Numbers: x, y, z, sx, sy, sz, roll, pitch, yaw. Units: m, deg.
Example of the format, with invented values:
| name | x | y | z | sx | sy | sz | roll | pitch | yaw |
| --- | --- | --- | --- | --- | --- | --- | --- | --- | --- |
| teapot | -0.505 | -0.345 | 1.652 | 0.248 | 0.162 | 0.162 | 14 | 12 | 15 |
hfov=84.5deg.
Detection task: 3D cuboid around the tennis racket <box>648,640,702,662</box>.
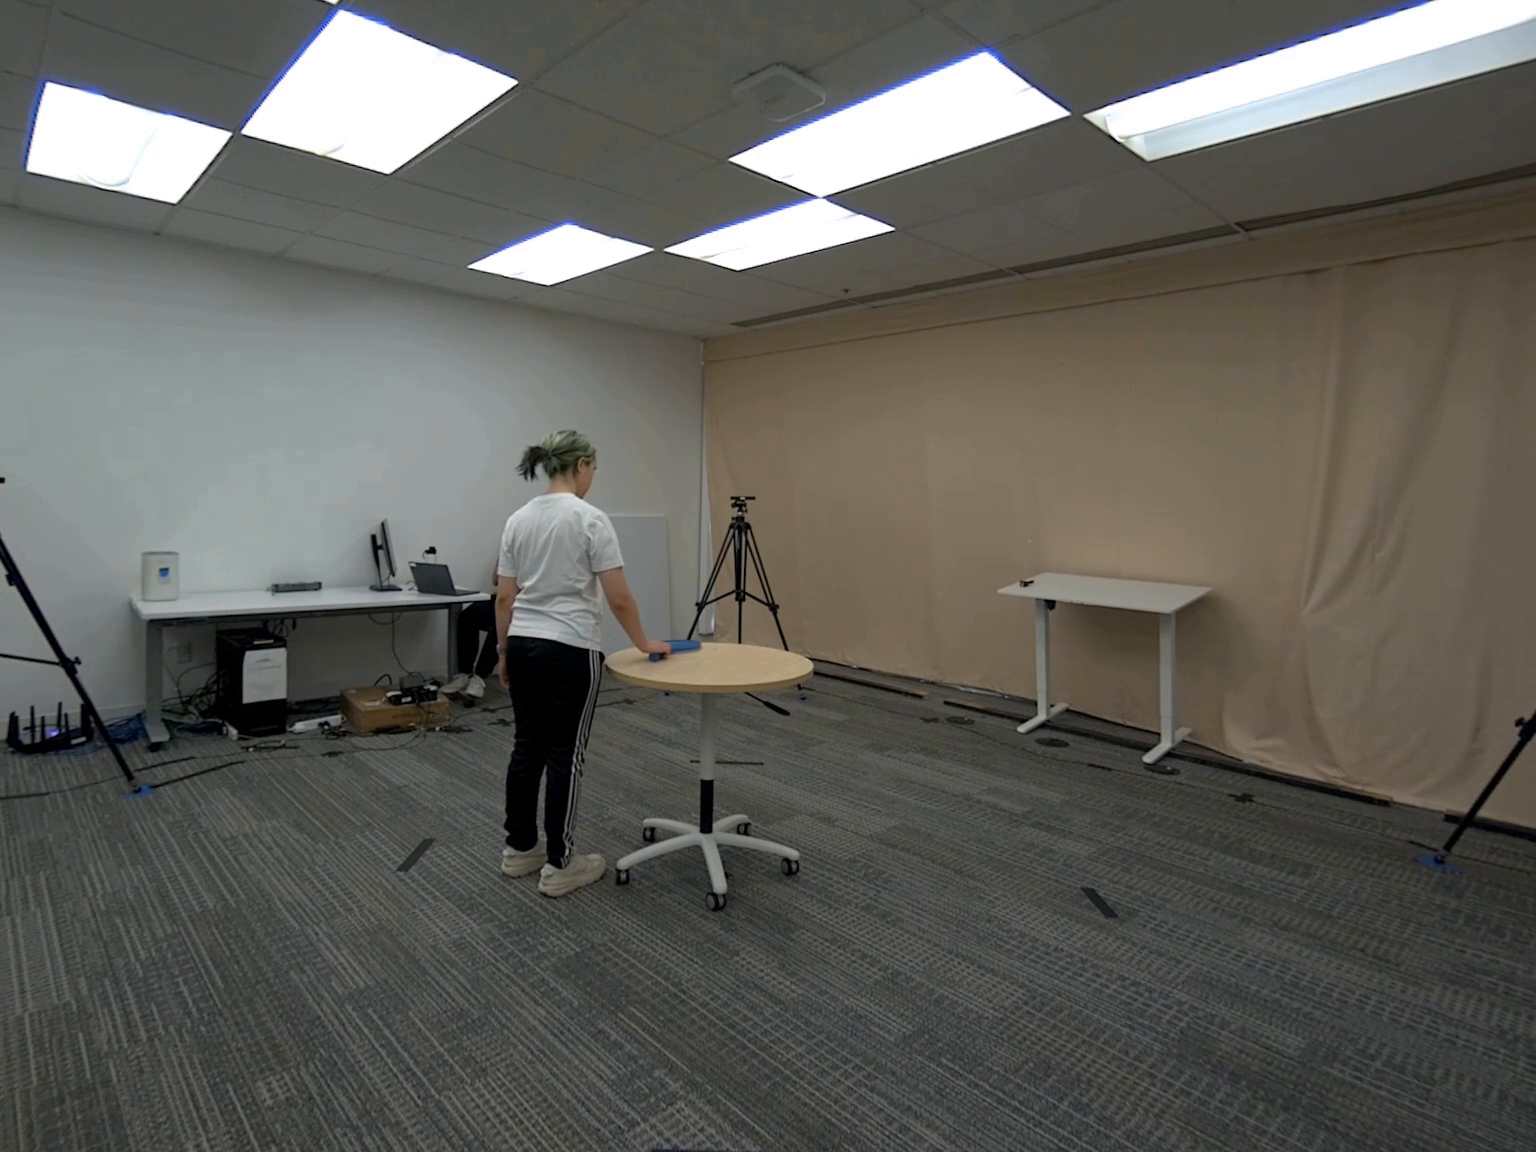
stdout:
| name | x | y | z | sx | sy | sz | roll | pitch | yaw |
| --- | --- | --- | --- | --- | --- | --- | --- | --- | --- |
| tennis racket | -0.402 | 0.285 | 3.282 | 0.216 | 0.032 | 0.430 | 3 | 4 | 10 |
